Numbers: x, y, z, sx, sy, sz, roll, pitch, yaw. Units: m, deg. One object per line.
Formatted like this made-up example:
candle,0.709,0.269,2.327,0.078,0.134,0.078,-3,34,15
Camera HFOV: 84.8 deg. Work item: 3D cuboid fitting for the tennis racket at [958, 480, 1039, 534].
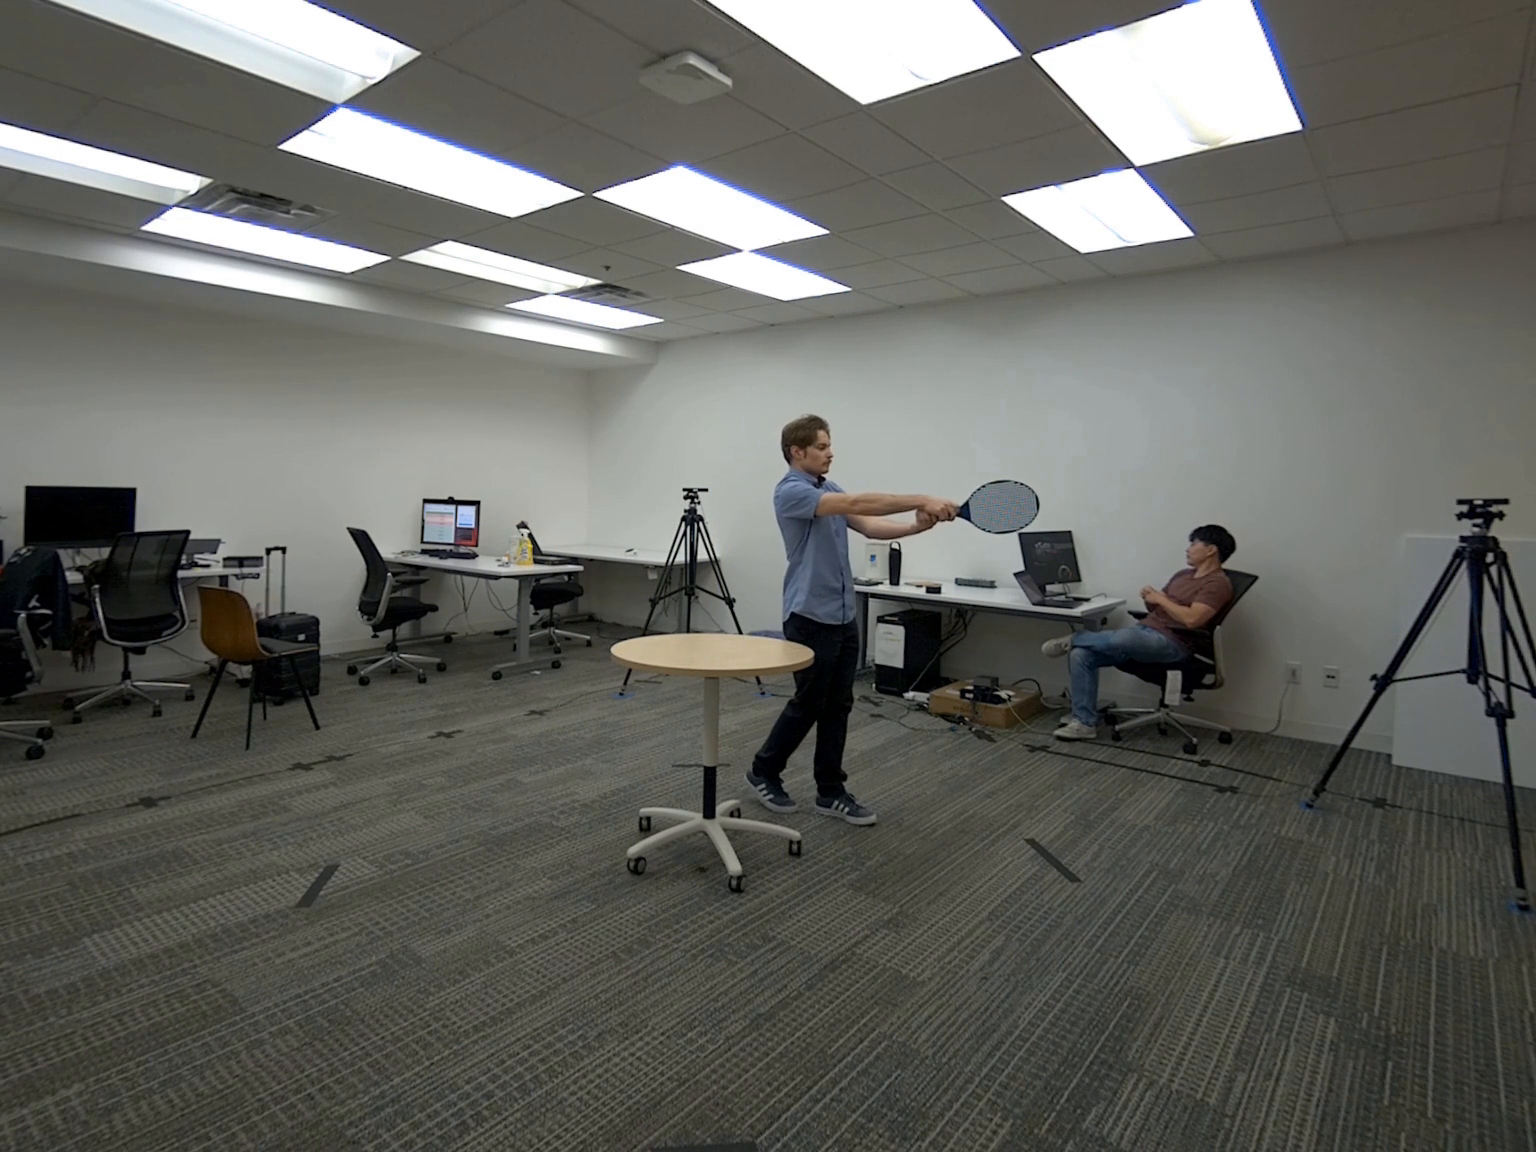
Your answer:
tennis racket,0.798,-0.258,3.264,0.440,0.210,0.032,-3,16,16
